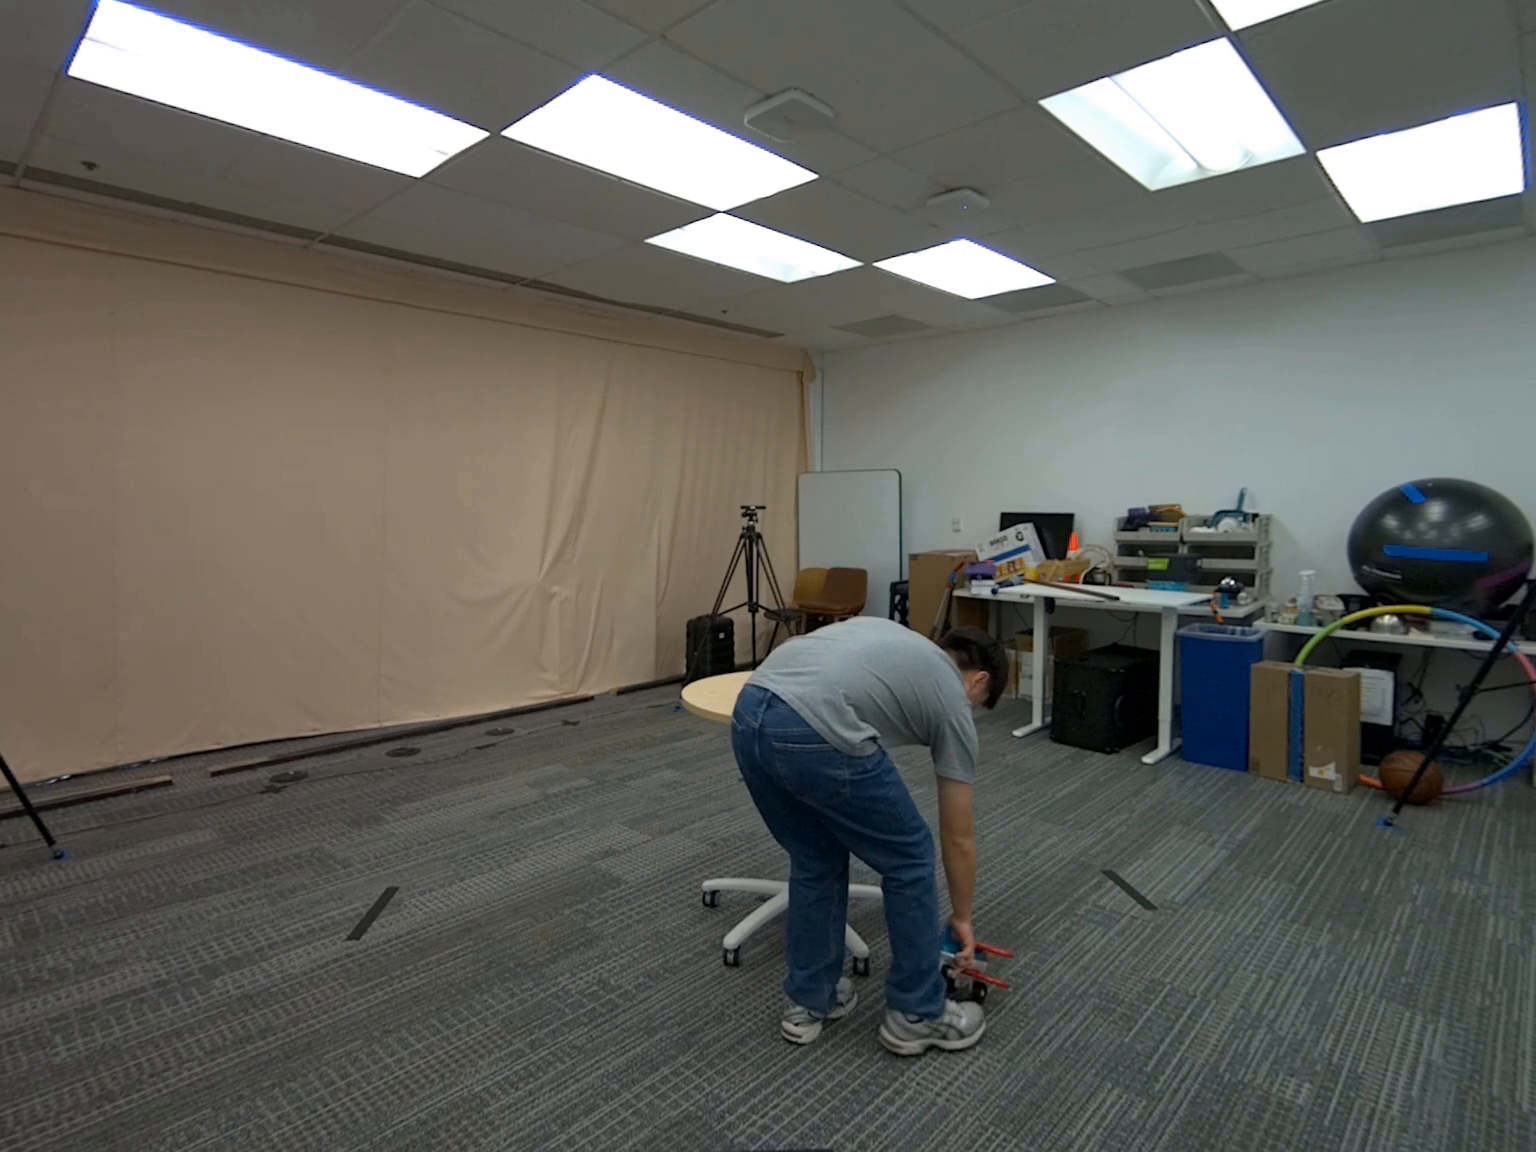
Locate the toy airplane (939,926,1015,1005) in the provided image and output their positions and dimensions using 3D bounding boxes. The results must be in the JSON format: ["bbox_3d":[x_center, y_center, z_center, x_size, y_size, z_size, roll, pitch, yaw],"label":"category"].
[{"bbox_3d":[0.554,1.081,2.349,0.256,0.156,0.253,18,-29,17],"label":"toy airplane"}]
